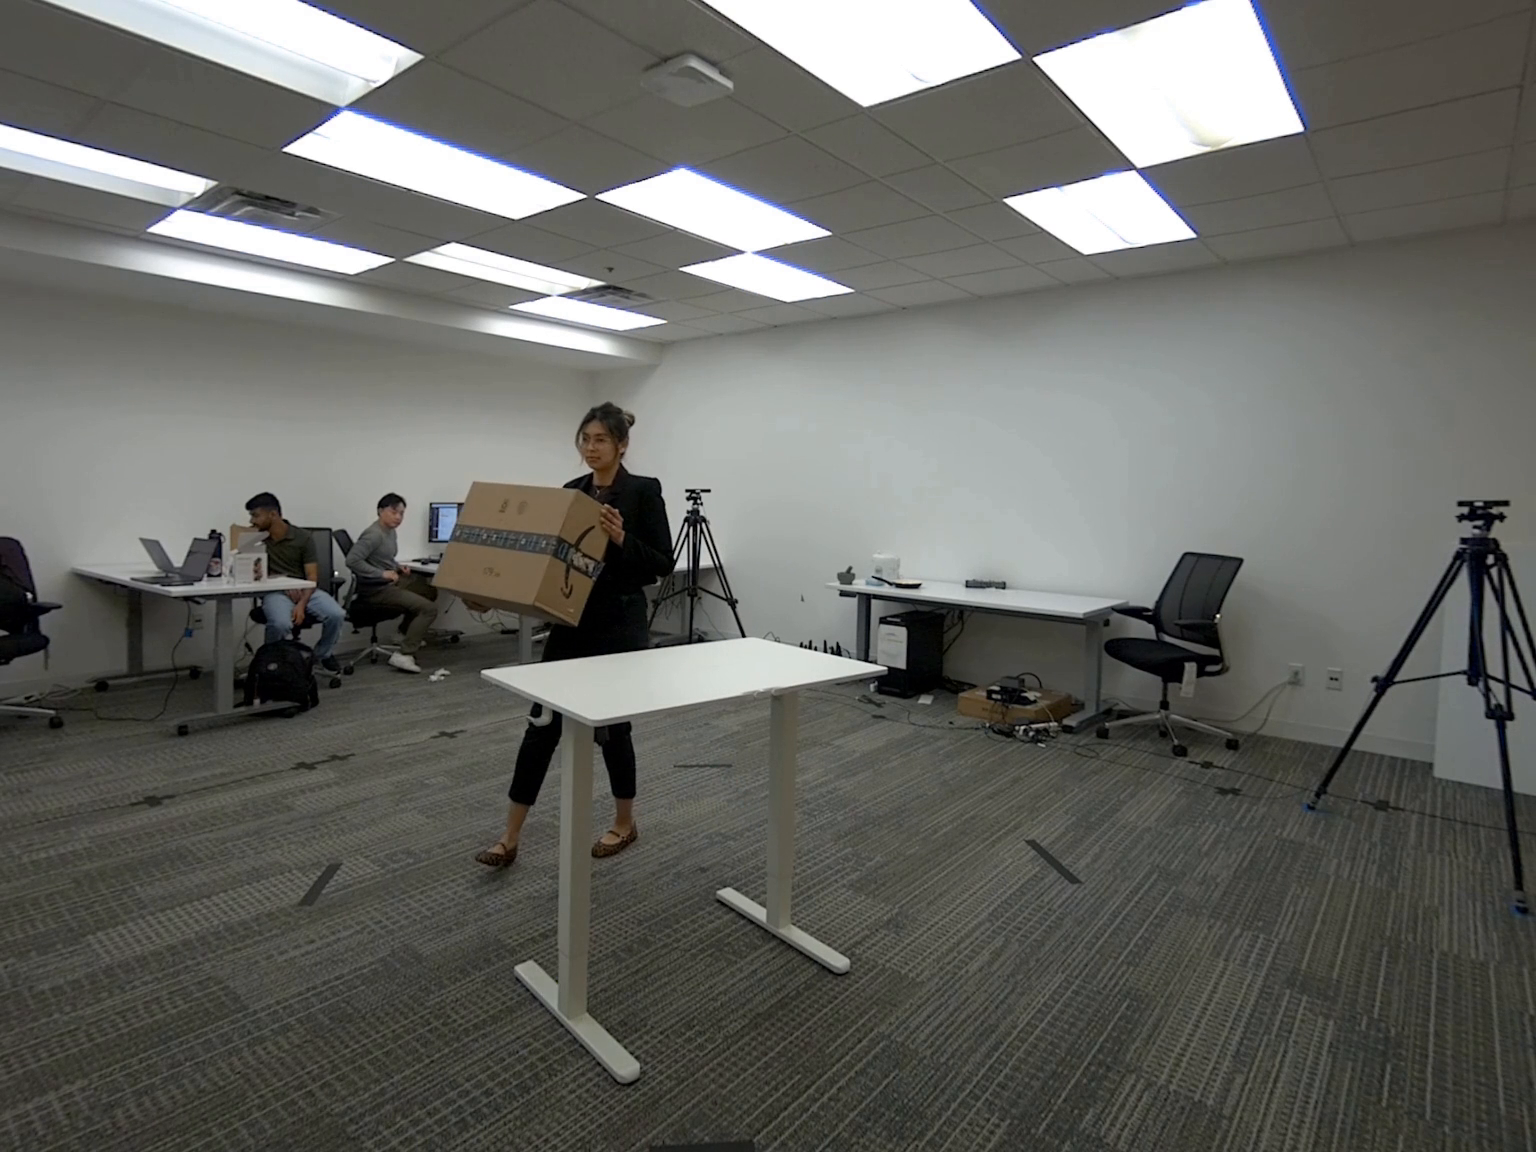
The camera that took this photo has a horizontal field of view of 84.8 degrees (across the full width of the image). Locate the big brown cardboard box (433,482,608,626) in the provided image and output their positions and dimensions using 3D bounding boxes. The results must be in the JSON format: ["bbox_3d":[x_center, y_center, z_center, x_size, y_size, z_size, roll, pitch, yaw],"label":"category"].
[{"bbox_3d":[-0.870,-0.093,3.007,0.609,0.421,0.223,8,-17,35],"label":"big brown cardboard box"}]
